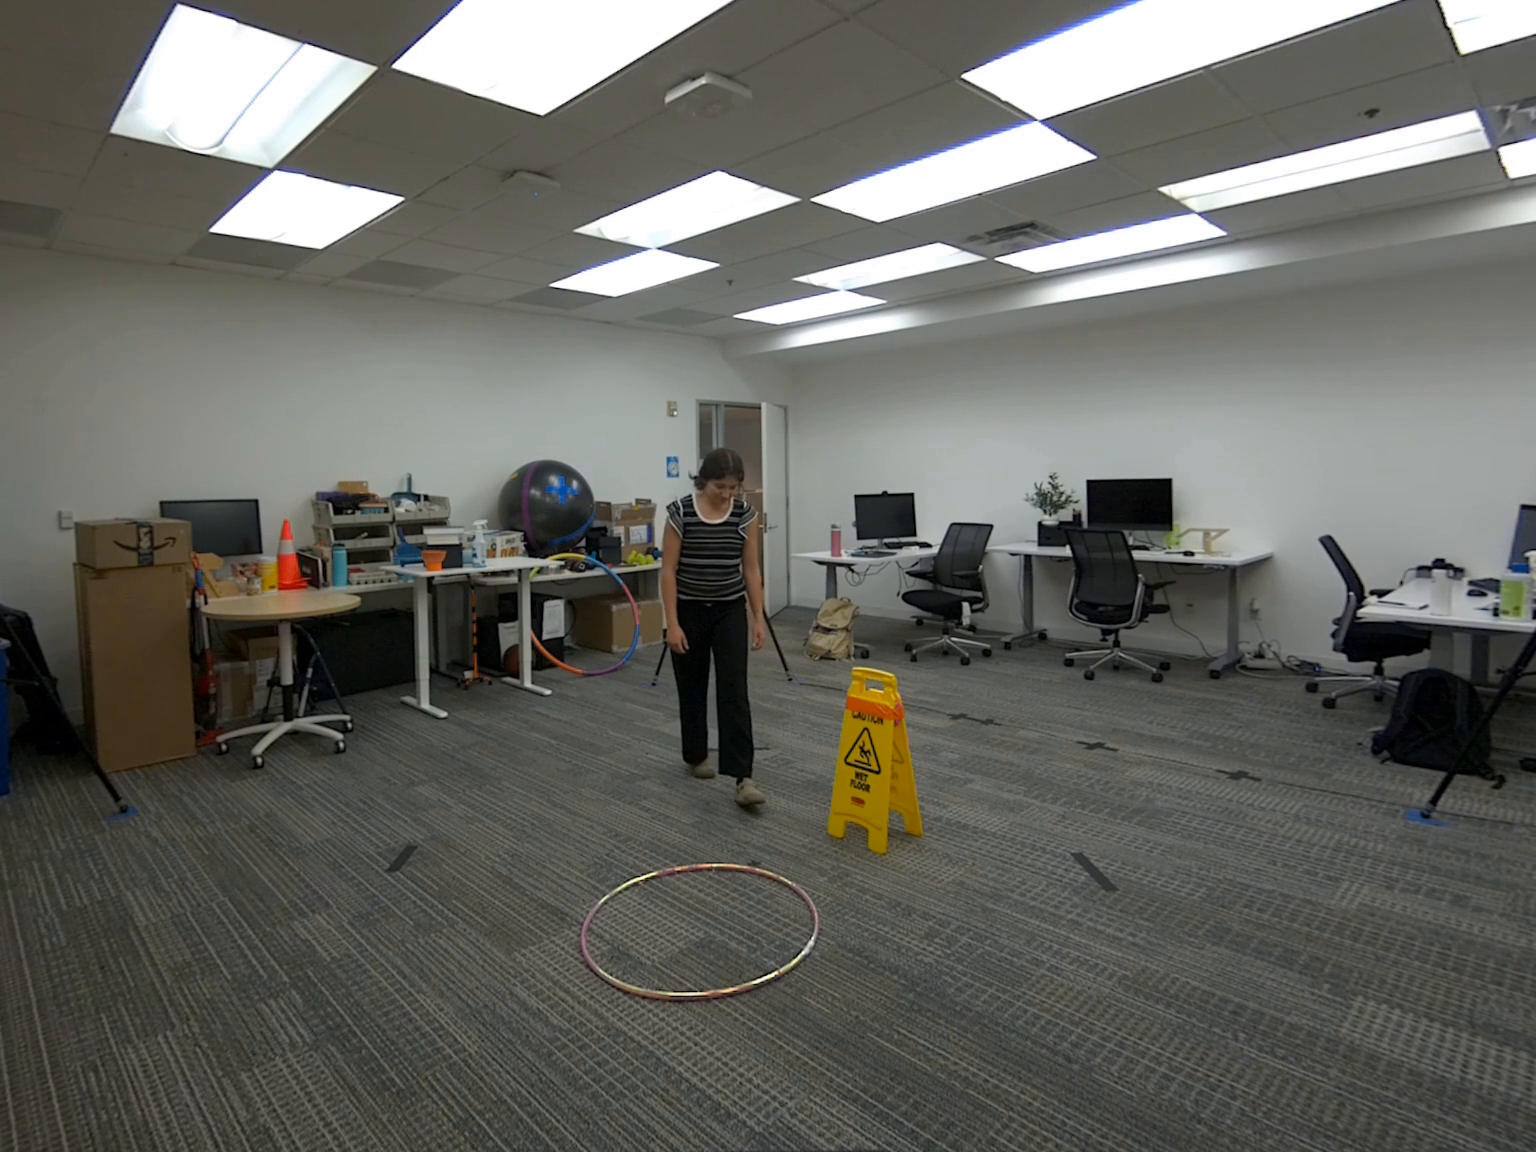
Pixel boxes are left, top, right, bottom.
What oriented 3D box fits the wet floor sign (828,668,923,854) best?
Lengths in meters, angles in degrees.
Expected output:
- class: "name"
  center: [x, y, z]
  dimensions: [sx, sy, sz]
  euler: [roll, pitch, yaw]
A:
- class: "wet floor sign"
  center: [0.413, 0.688, 3.318]
  dimensions: [0.282, 0.644, 0.291]
  euler: [-5, 5, -43]
